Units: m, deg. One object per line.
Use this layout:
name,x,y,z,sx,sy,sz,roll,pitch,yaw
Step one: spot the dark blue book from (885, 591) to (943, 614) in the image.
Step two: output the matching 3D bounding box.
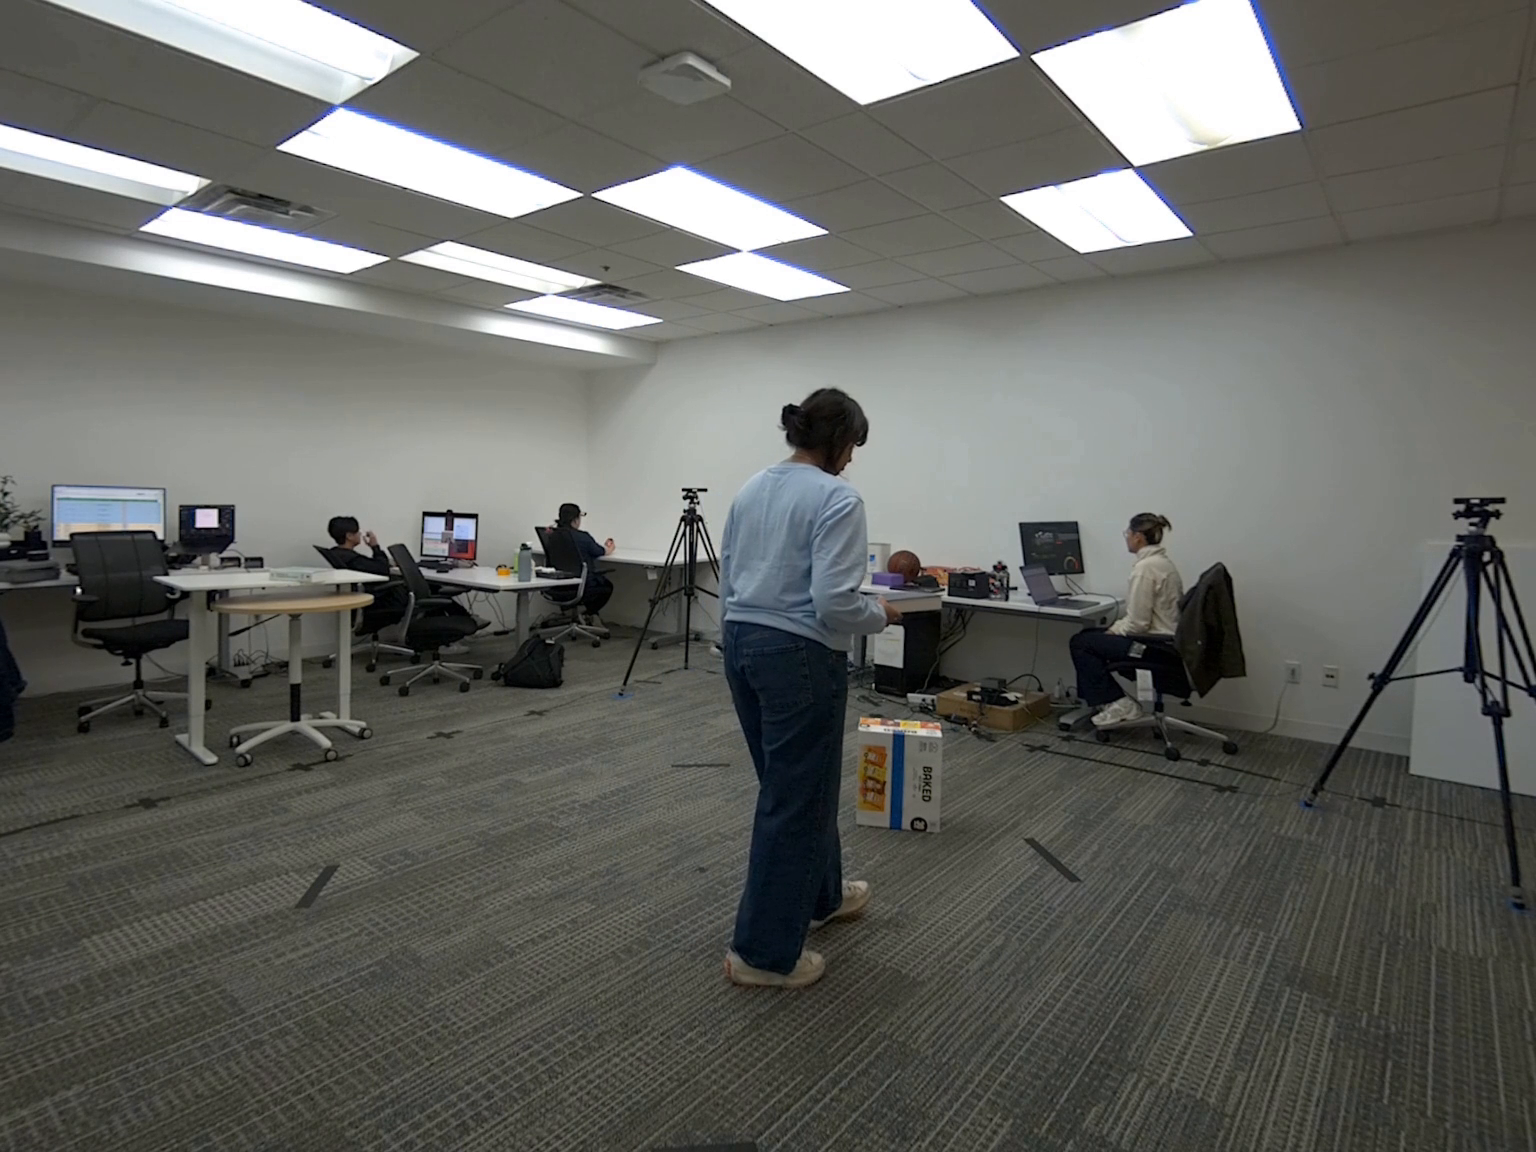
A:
dark blue book,0.366,0.084,2.563,0.243,0.045,0.166,-7,8,-7
